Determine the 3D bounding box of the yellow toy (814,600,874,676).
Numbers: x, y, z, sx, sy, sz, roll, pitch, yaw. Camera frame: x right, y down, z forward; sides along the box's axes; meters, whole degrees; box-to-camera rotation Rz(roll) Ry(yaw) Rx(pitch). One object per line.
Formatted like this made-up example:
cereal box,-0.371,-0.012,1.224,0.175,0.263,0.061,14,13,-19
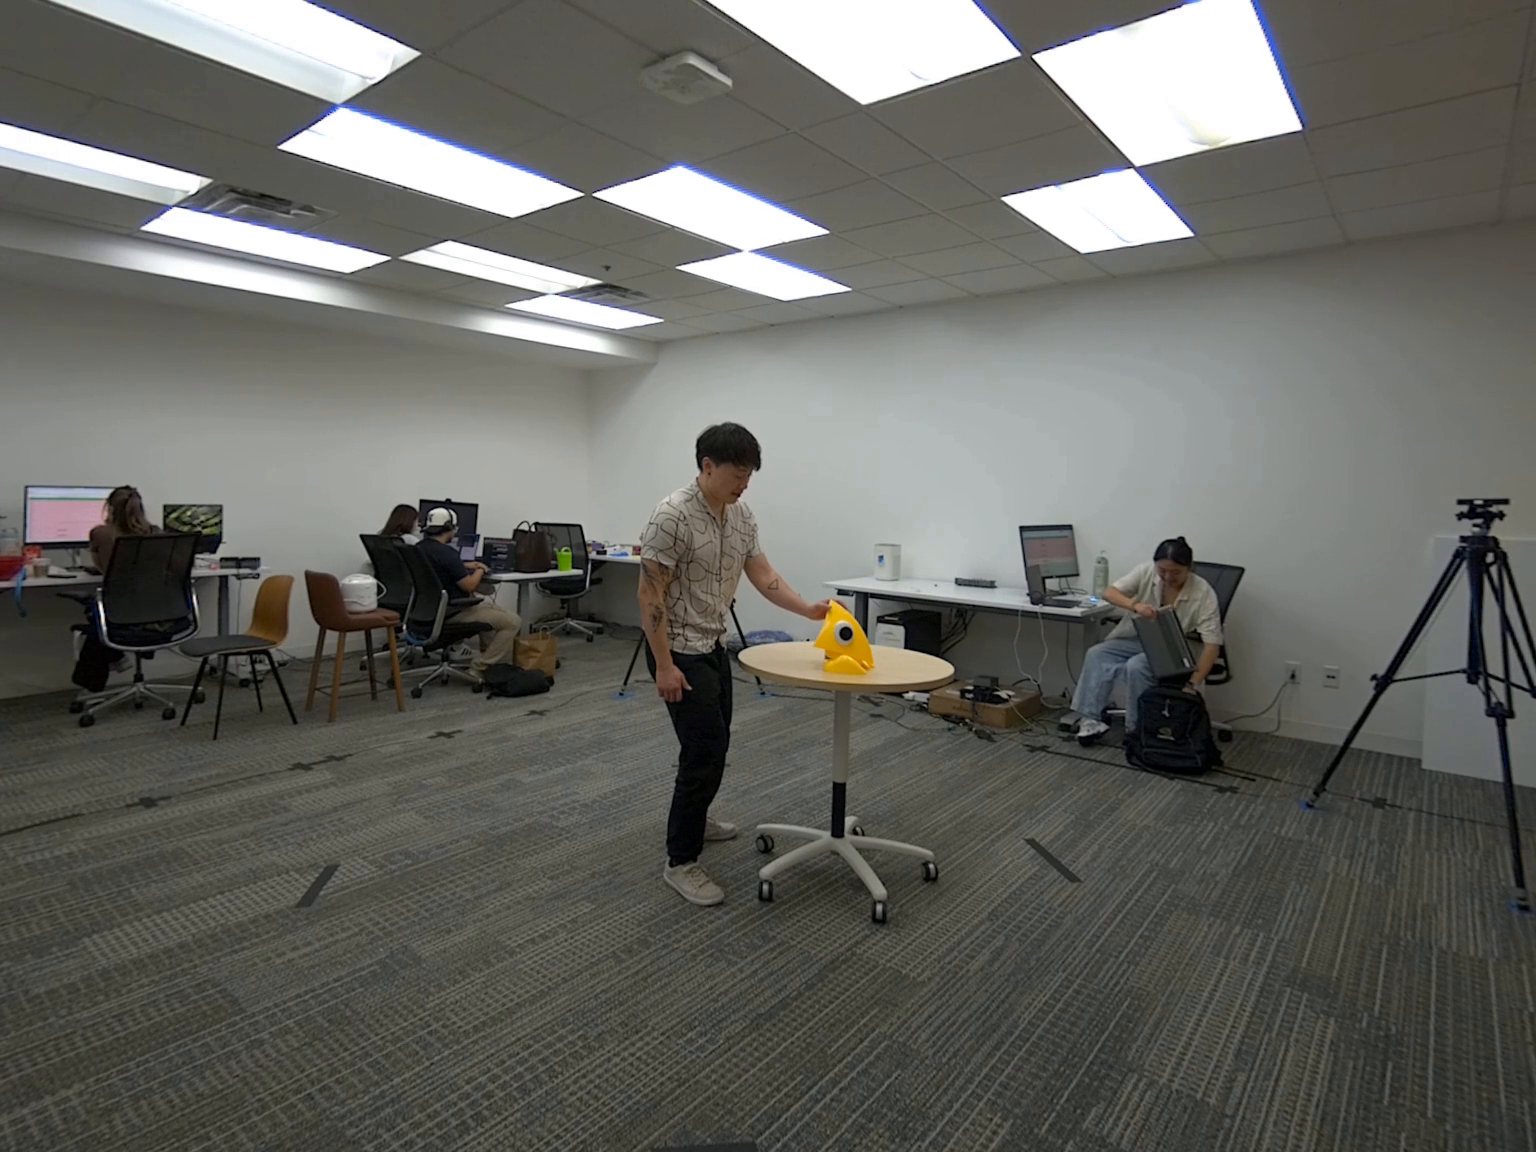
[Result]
yellow toy,0.260,0.204,2.919,0.198,0.230,0.201,3,4,22
